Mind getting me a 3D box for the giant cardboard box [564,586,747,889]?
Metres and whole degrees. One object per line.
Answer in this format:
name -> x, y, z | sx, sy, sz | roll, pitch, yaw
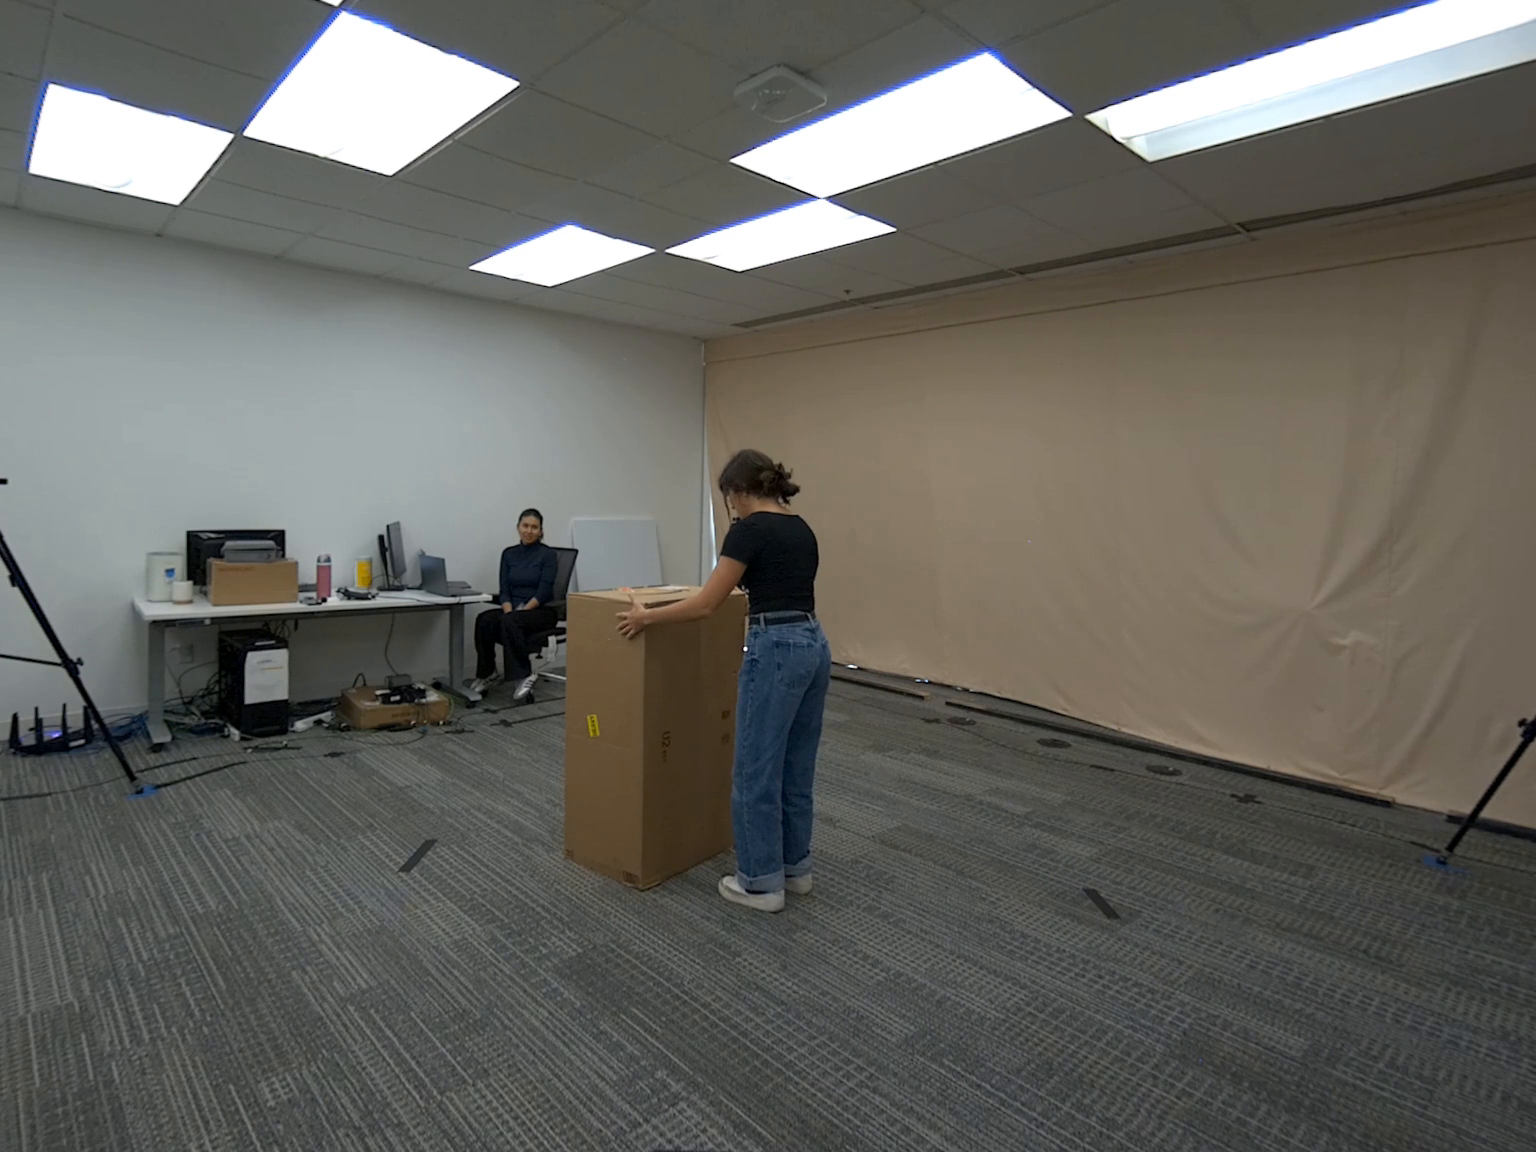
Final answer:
giant cardboard box -> -0.443, 0.574, 3.298 | 0.437, 1.023, 0.565 | 4, 4, 38
